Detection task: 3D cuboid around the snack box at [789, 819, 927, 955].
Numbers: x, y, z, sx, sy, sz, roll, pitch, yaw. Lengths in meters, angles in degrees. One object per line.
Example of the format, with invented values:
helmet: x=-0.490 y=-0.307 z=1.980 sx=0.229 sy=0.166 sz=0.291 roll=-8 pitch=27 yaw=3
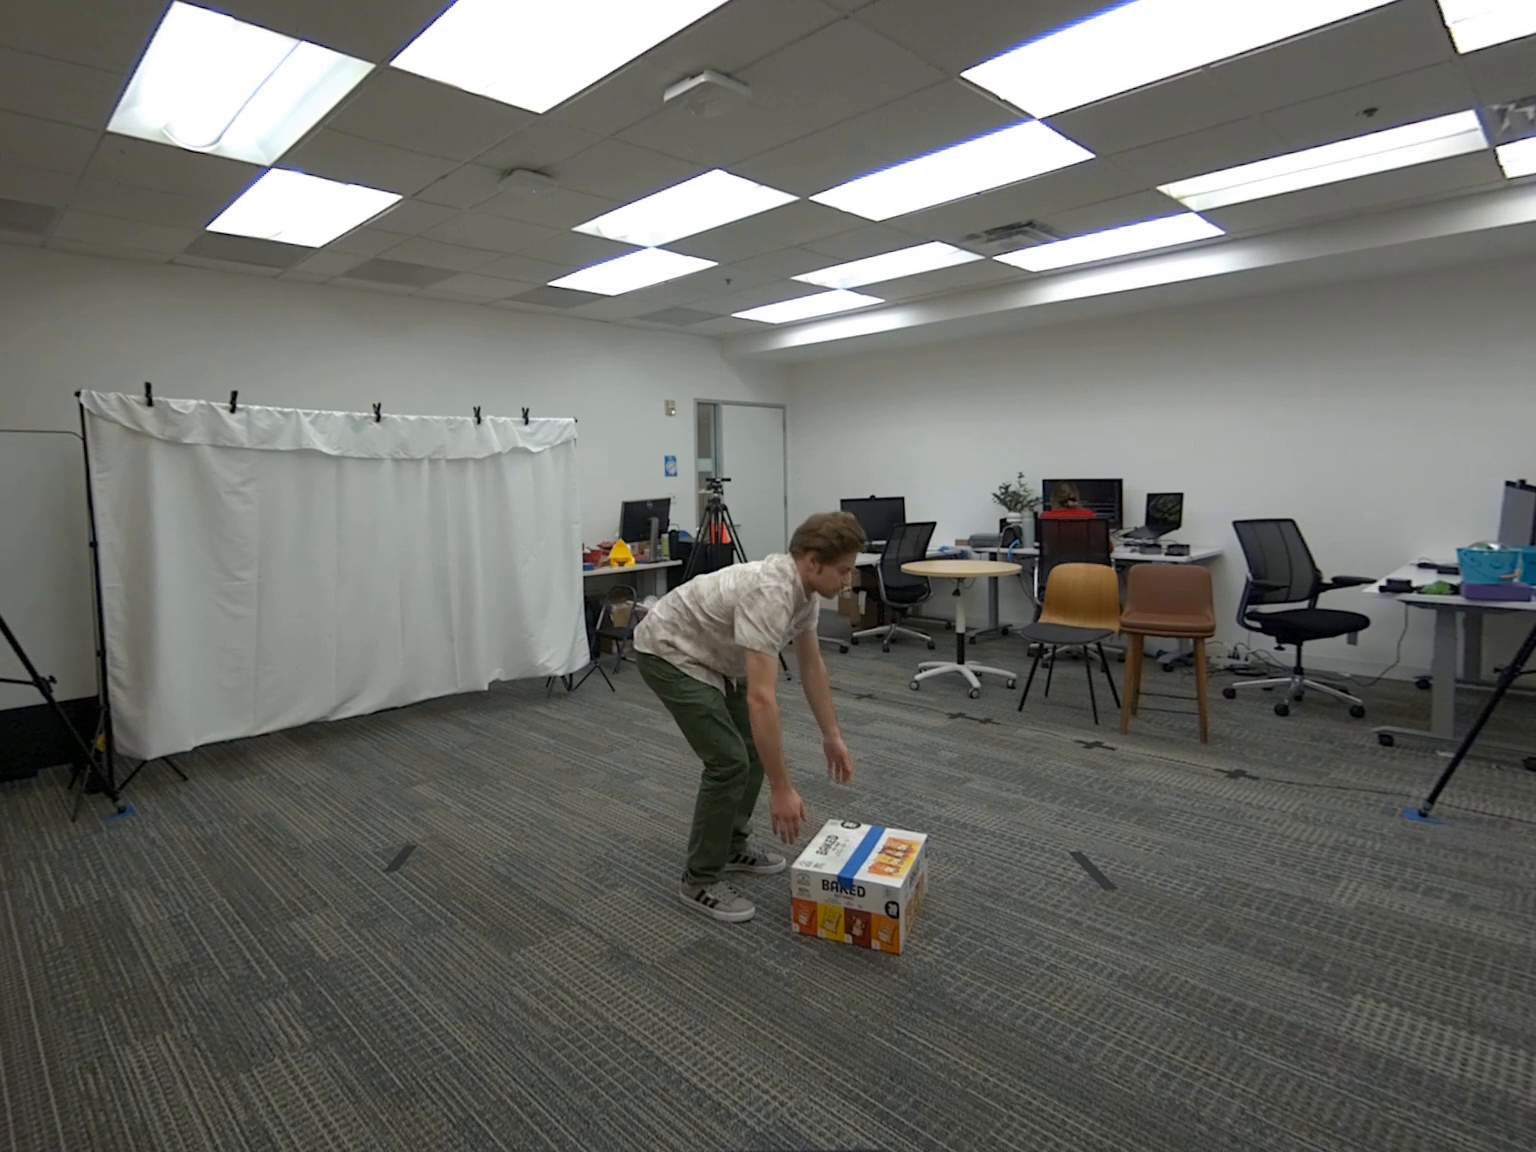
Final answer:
snack box: x=0.311 y=0.980 z=2.732 sx=0.348 sy=0.205 sz=0.398 roll=2 pitch=7 yaw=23
